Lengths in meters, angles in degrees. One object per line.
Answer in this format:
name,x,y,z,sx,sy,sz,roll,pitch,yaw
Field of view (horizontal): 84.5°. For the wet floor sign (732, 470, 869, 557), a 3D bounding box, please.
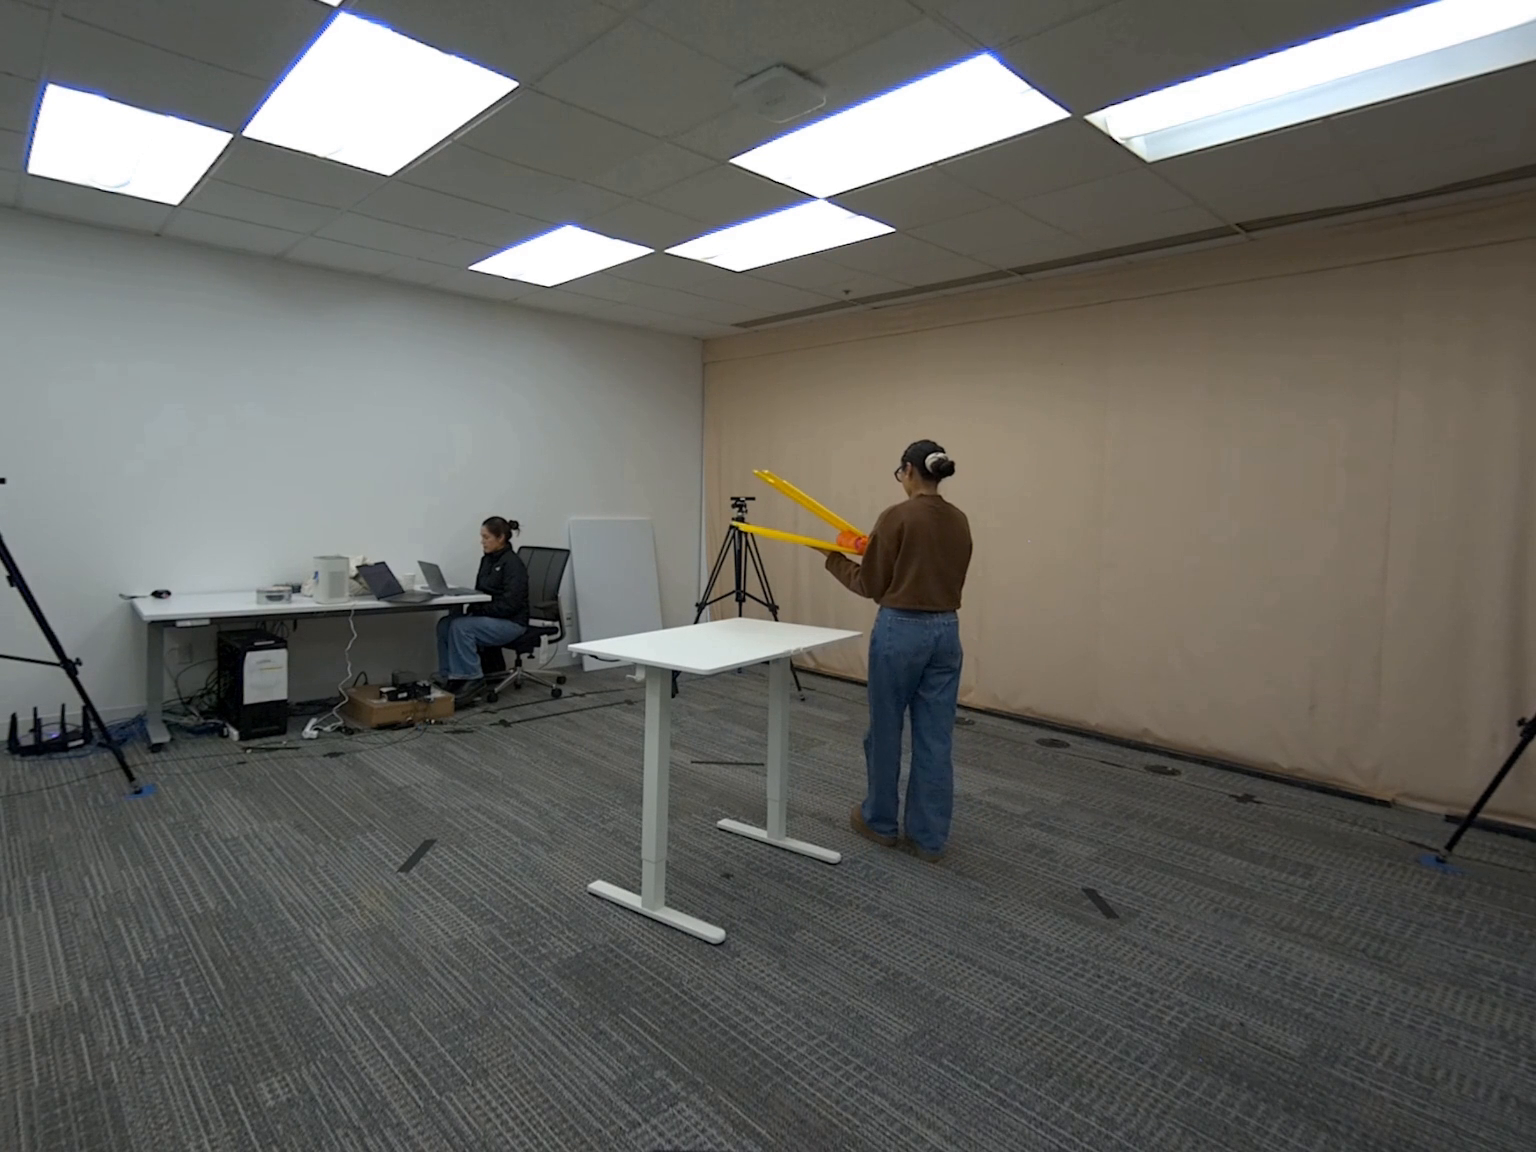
wet floor sign,0.199,-0.200,3.528,0.639,0.289,0.286,21,3,-11
